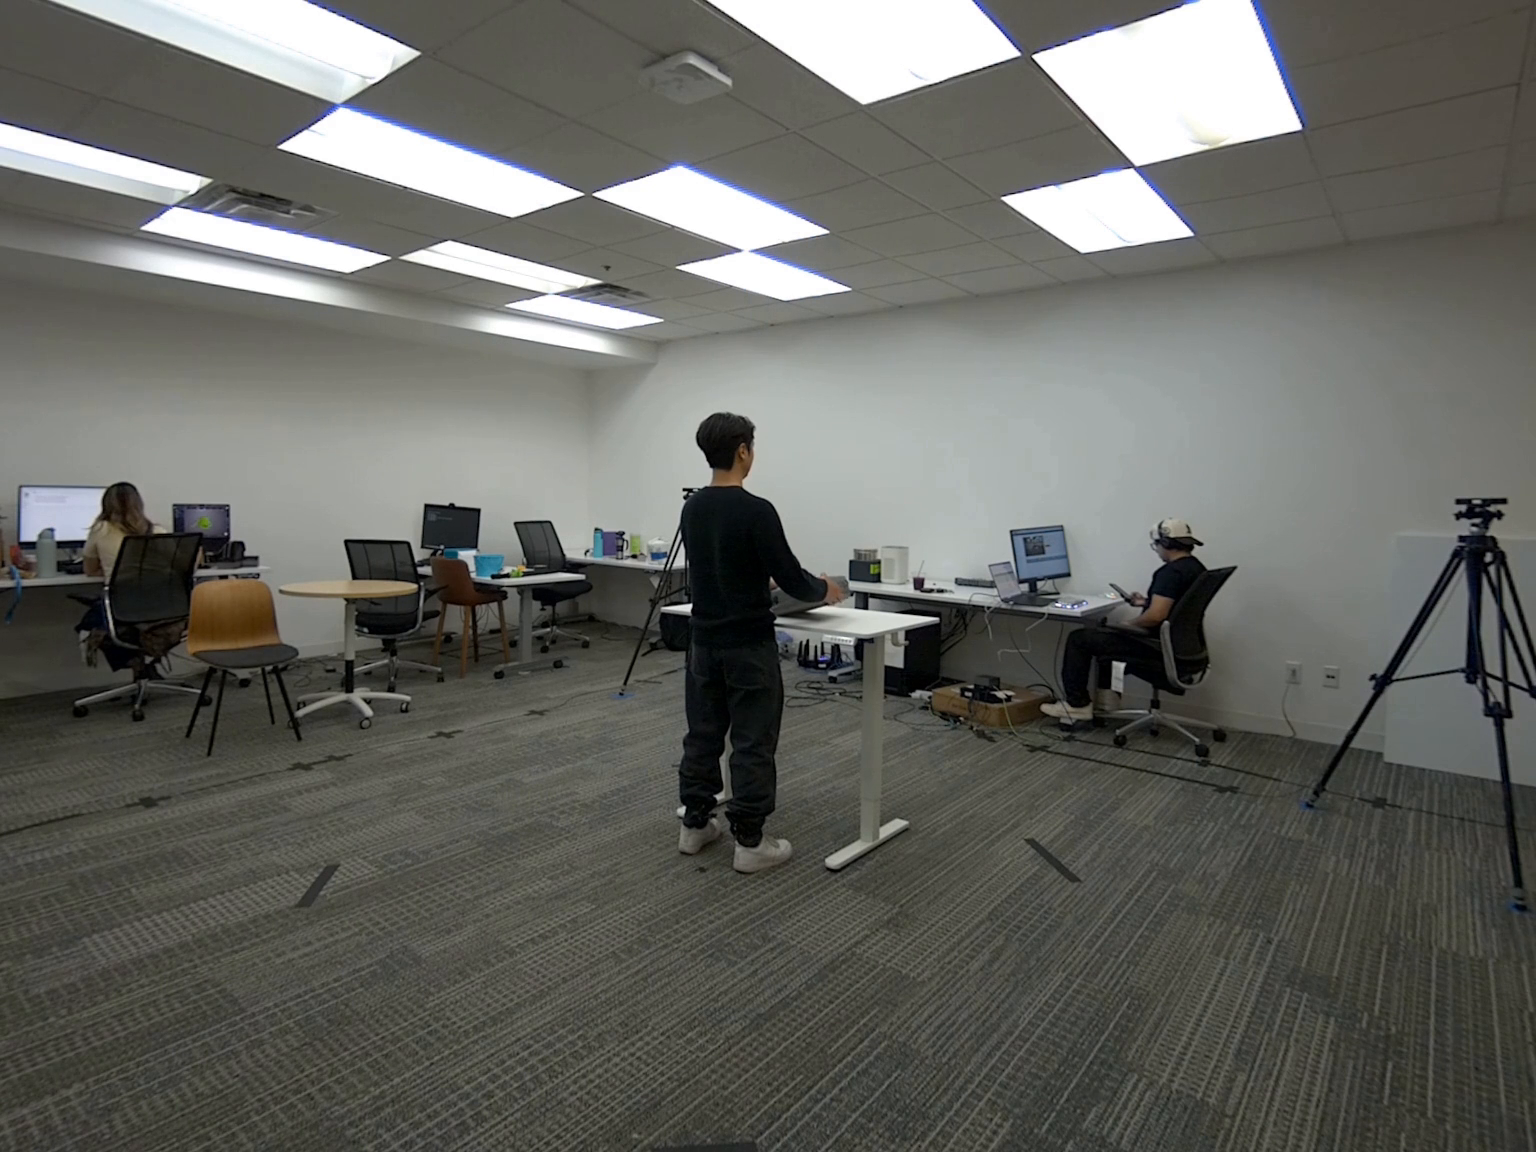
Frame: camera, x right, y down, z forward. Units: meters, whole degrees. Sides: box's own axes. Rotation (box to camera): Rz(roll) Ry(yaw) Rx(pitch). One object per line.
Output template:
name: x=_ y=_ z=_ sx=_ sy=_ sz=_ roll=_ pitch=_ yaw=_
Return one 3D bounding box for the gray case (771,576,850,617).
gray case: x=0.161 y=0.076 z=3.453 sx=0.262 sy=0.105 sz=0.253 roll=-20 pitch=-11 yaw=41
